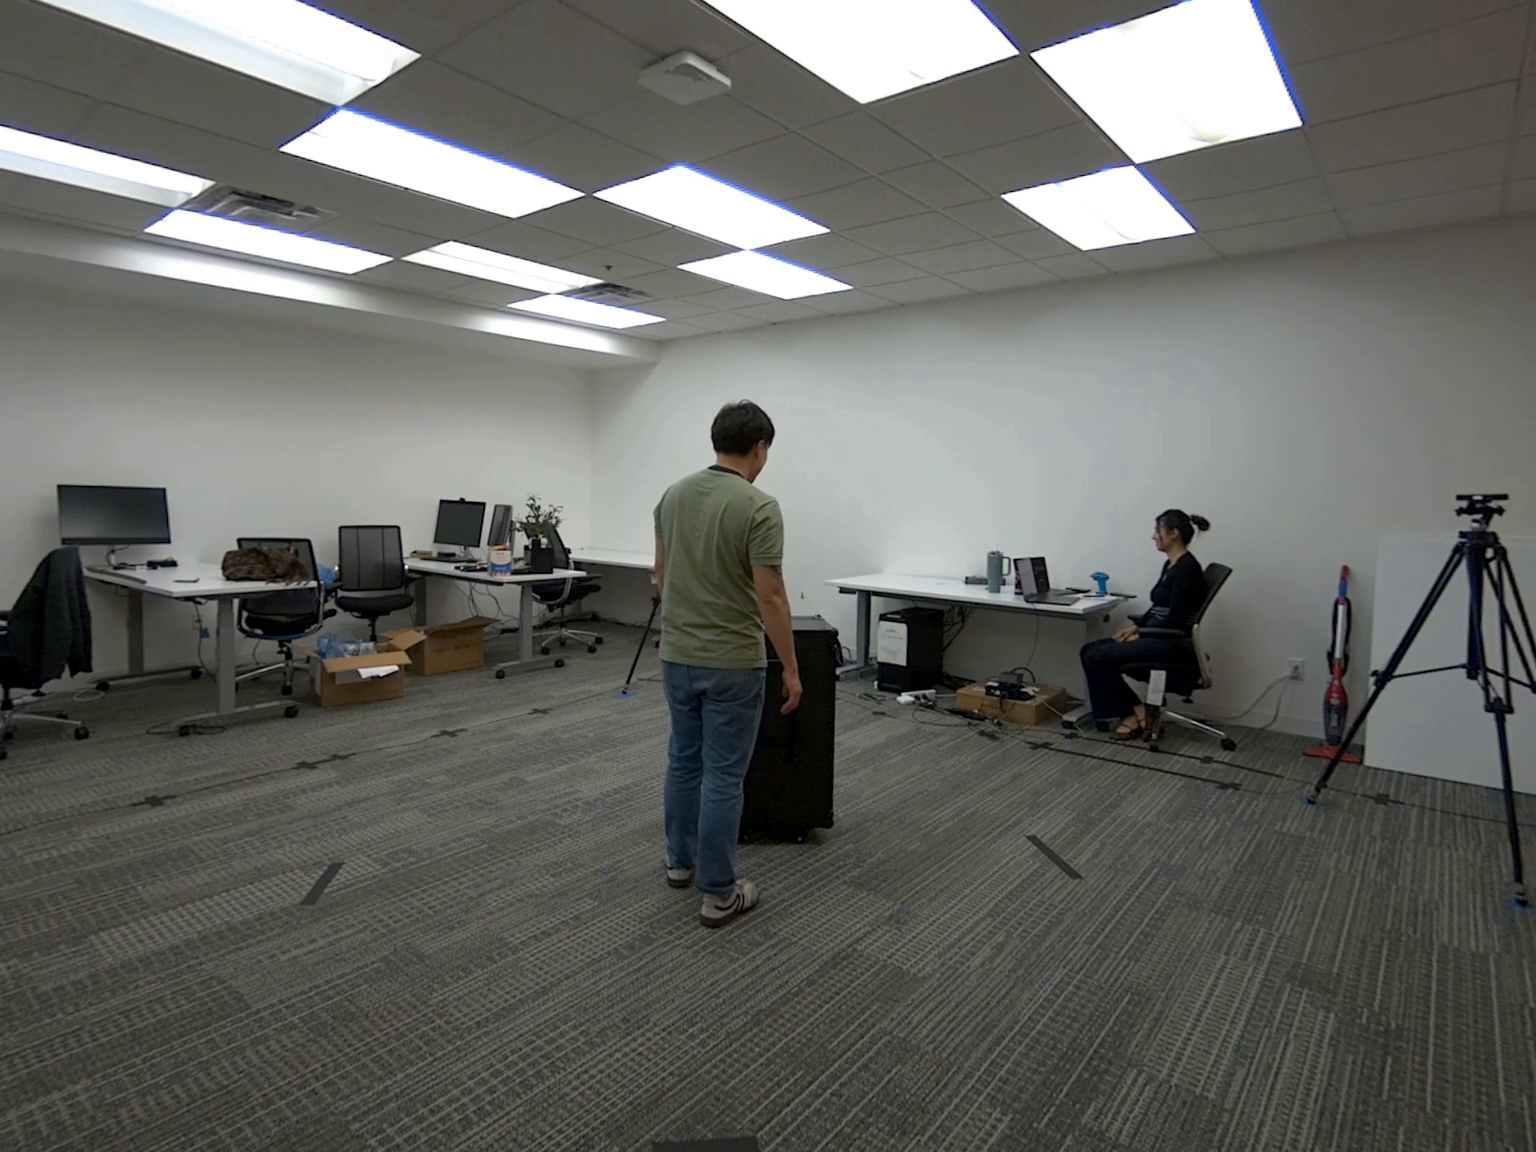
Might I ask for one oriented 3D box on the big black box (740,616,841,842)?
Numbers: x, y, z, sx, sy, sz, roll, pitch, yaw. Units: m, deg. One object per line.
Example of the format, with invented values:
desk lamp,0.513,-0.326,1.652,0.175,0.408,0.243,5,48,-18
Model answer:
big black box,-0.001,0.607,3.449,0.519,0.858,0.399,1,4,-4
